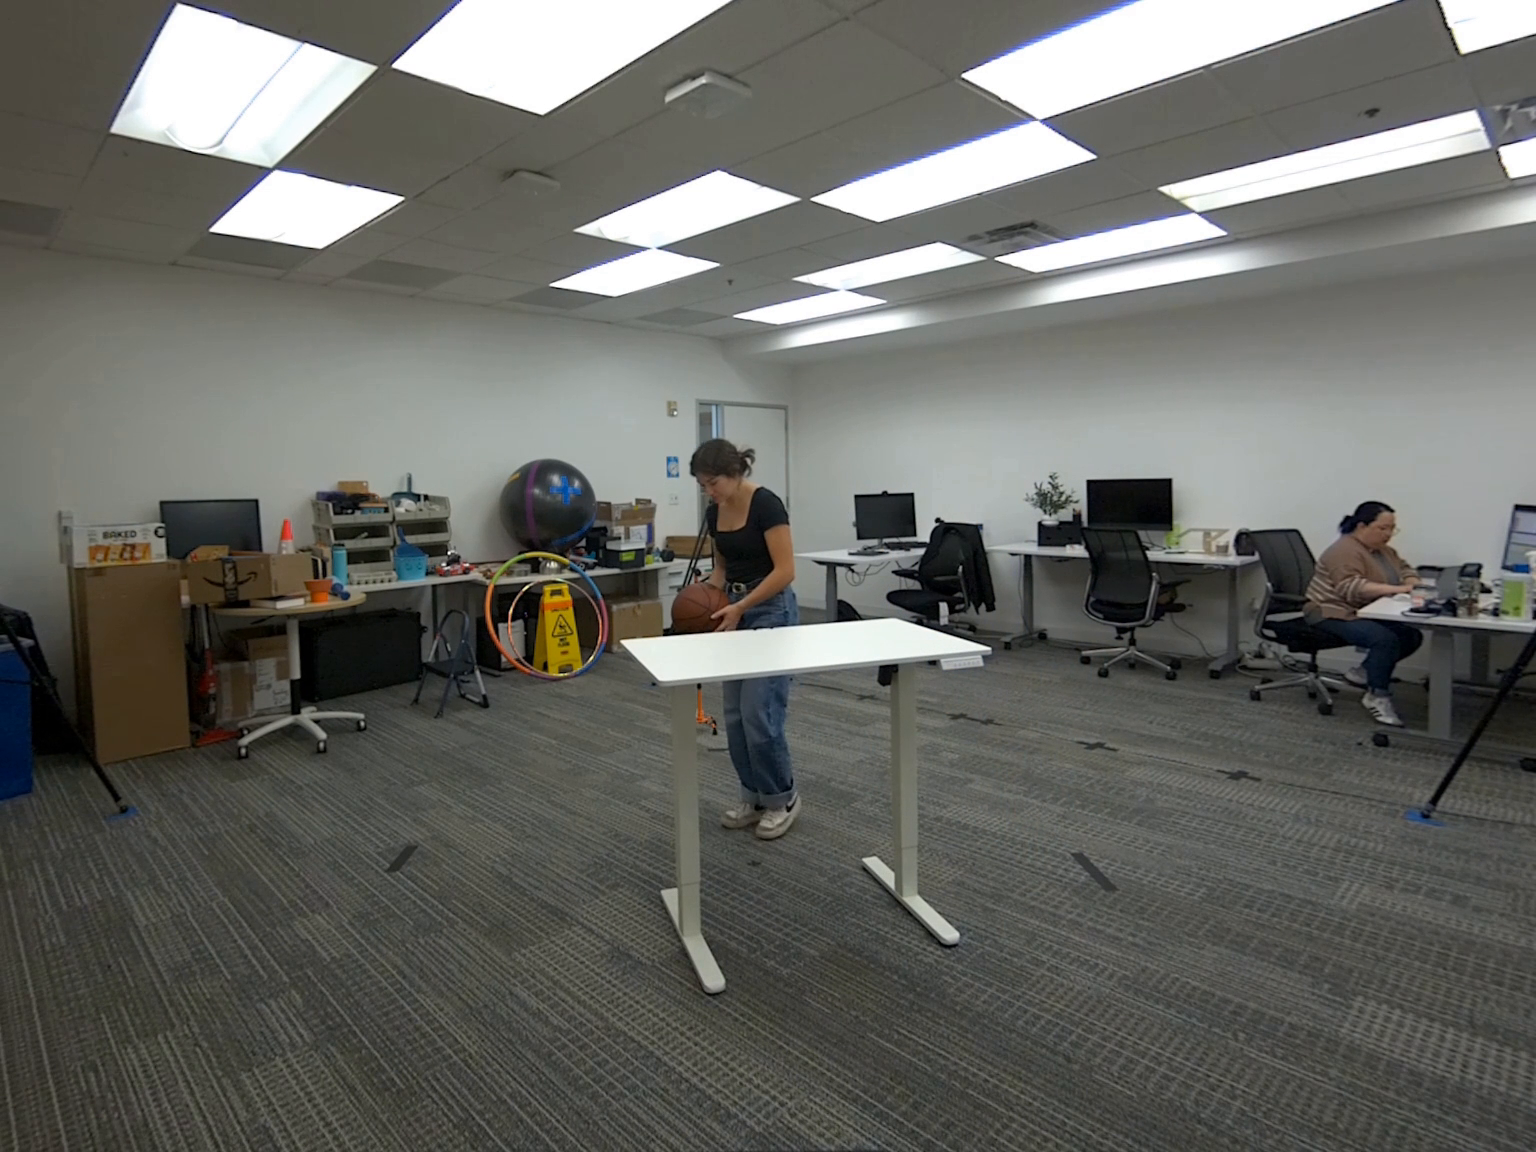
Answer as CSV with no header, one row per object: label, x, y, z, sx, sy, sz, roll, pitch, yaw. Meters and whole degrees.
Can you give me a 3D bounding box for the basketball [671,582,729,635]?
basketball,-0.255,0.144,3.319,0.236,0.235,0.237,-1,5,-2
